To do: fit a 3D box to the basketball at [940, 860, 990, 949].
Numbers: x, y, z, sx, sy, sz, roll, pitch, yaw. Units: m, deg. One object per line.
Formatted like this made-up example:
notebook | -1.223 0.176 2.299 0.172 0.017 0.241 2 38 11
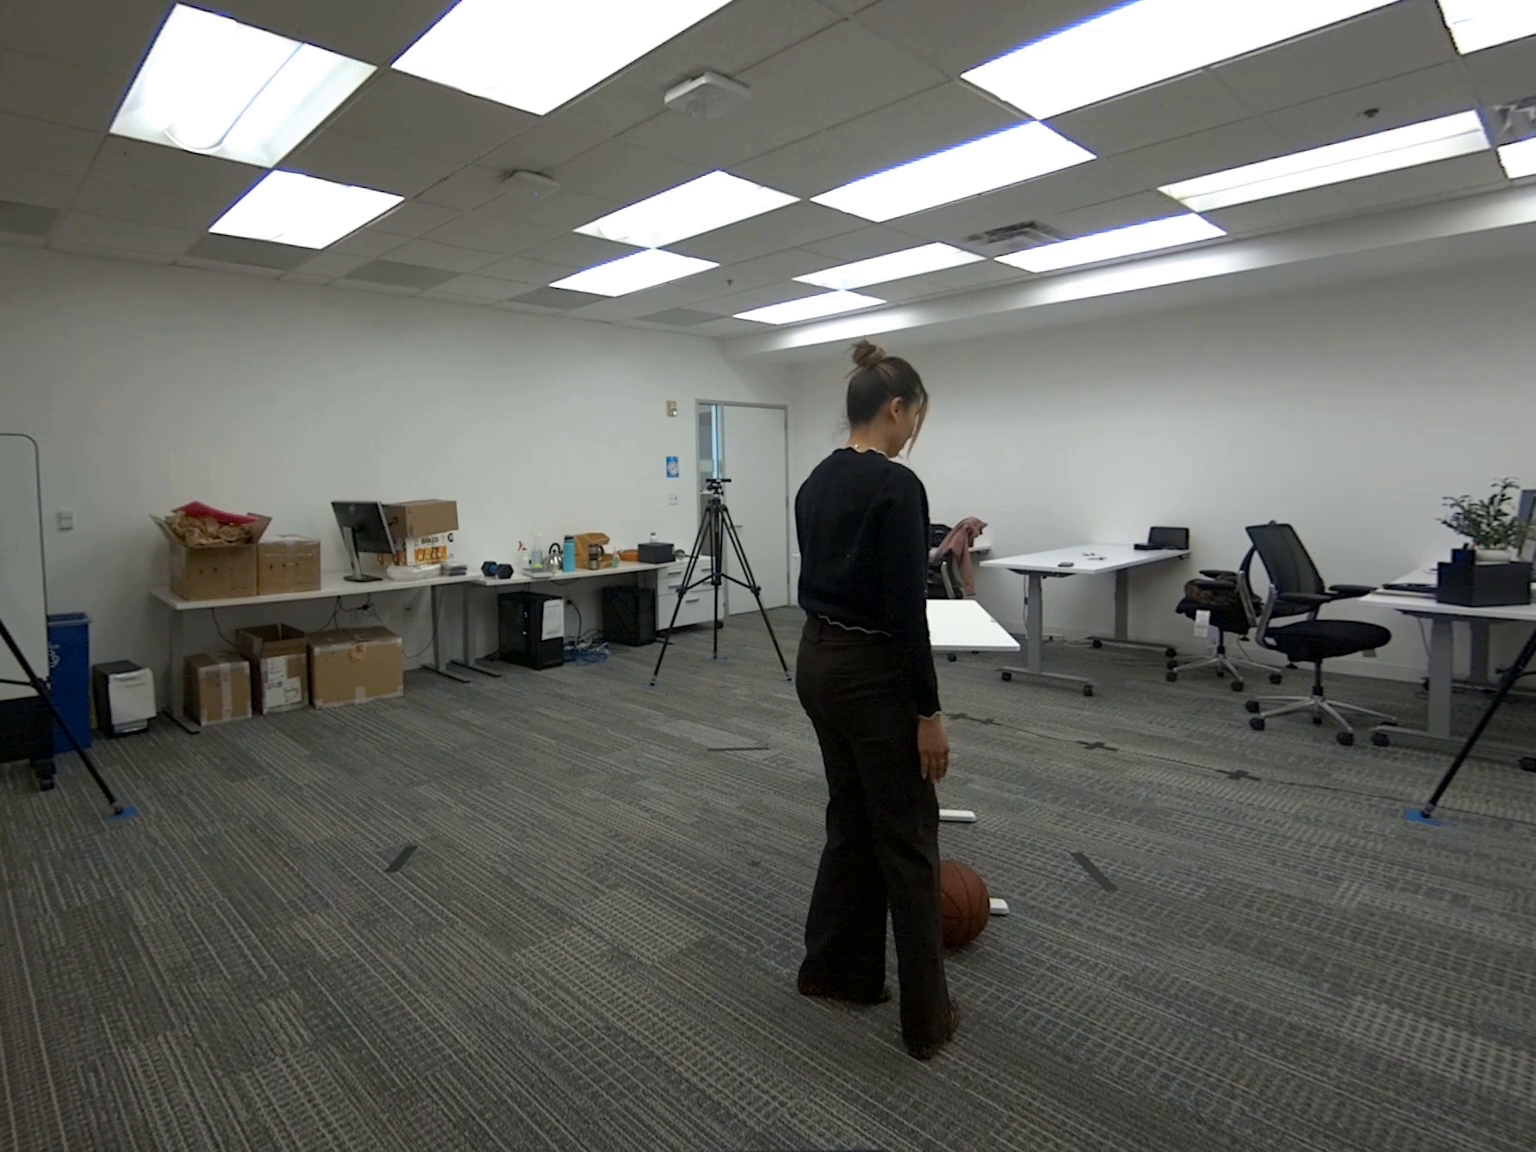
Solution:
basketball | 0.550 0.981 2.560 0.236 0.235 0.237 -1 5 -2
